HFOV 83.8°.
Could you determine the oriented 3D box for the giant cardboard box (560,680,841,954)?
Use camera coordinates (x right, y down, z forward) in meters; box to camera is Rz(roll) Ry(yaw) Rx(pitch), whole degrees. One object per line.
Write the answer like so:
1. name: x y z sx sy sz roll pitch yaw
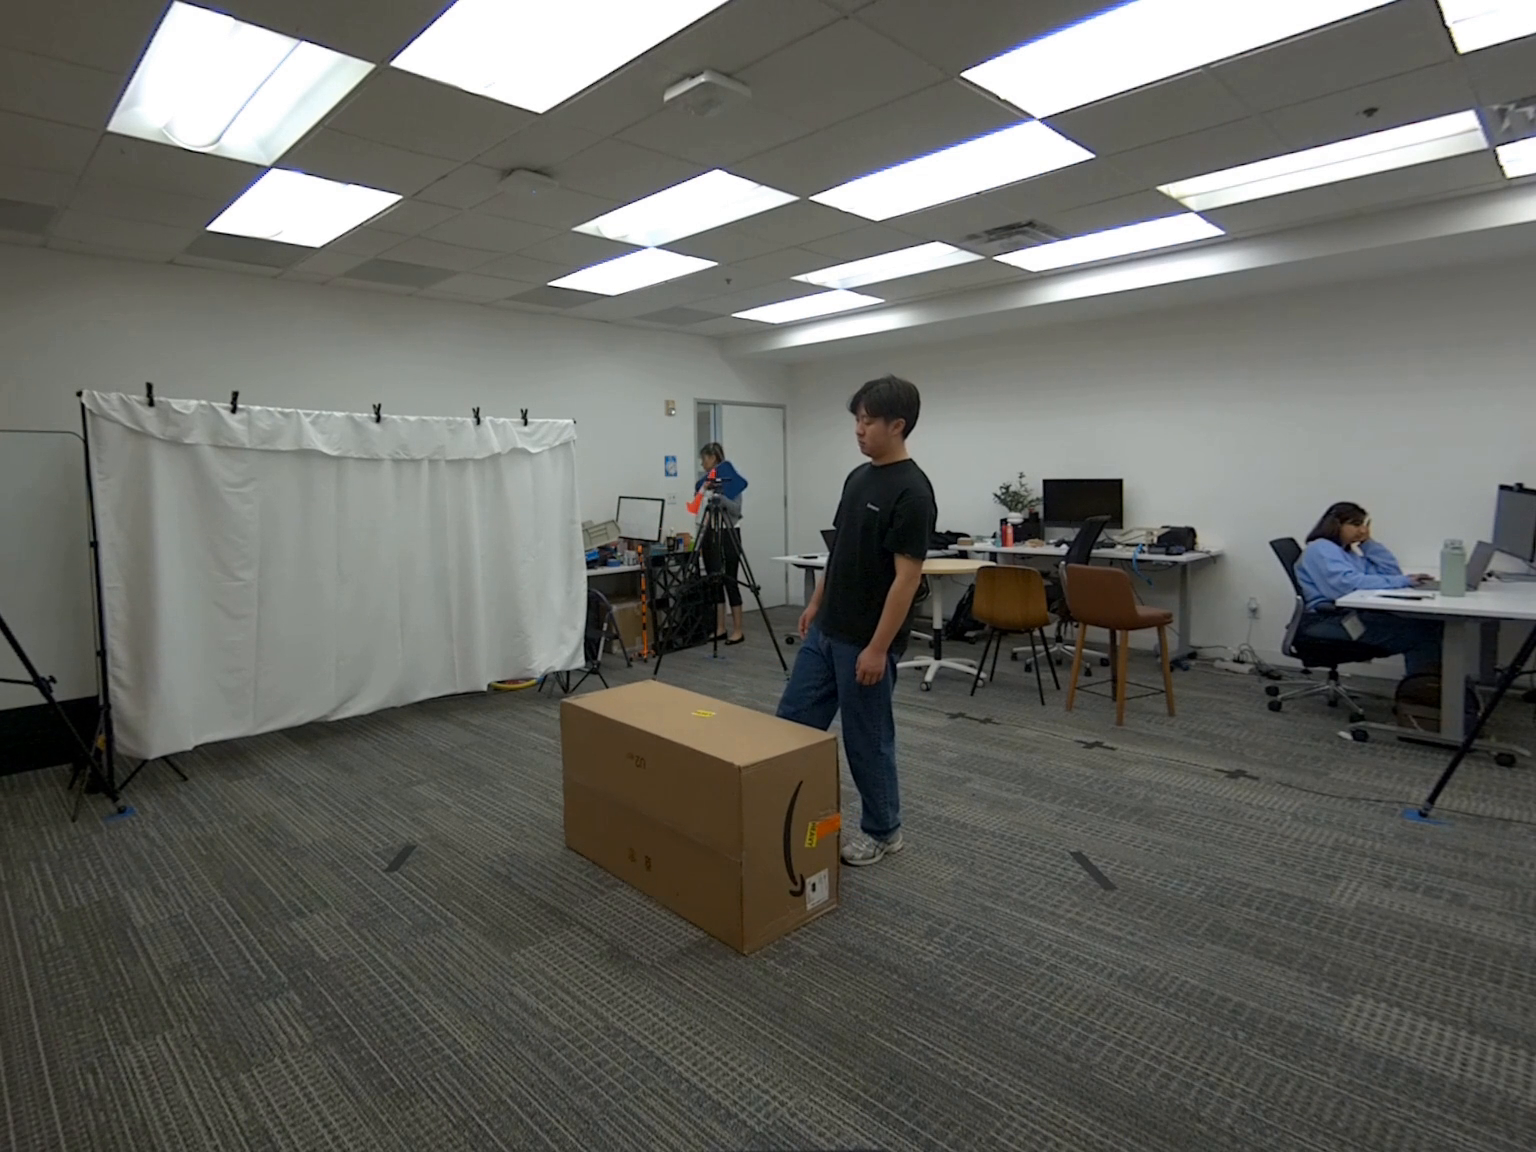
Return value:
1. giant cardboard box: -0.276 0.772 3.002 0.435 0.582 1.059 -4 7 -42
